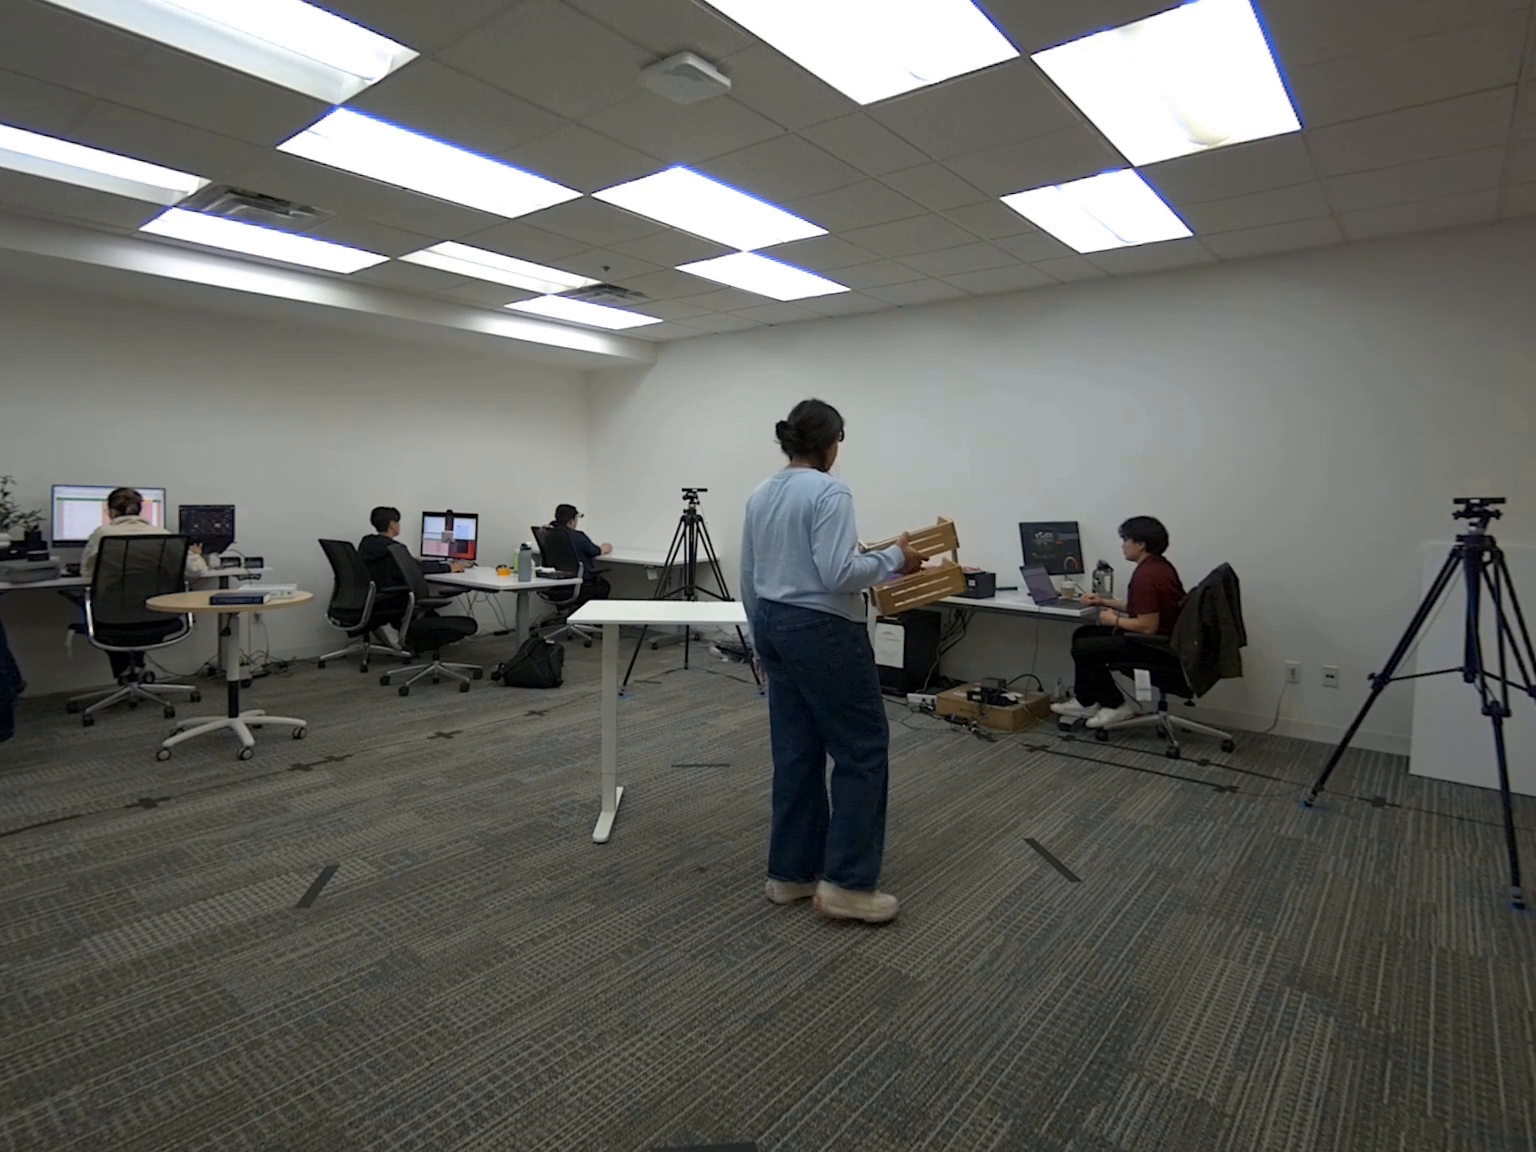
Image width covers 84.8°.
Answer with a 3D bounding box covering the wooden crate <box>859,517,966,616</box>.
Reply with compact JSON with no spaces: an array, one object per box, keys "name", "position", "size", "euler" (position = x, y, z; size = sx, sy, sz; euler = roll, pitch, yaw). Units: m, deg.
[{"name":"wooden crate","position":[0.492,-0.051,2.984],"size":[0.324,0.269,0.307],"euler":[-18,12,-2]}]
